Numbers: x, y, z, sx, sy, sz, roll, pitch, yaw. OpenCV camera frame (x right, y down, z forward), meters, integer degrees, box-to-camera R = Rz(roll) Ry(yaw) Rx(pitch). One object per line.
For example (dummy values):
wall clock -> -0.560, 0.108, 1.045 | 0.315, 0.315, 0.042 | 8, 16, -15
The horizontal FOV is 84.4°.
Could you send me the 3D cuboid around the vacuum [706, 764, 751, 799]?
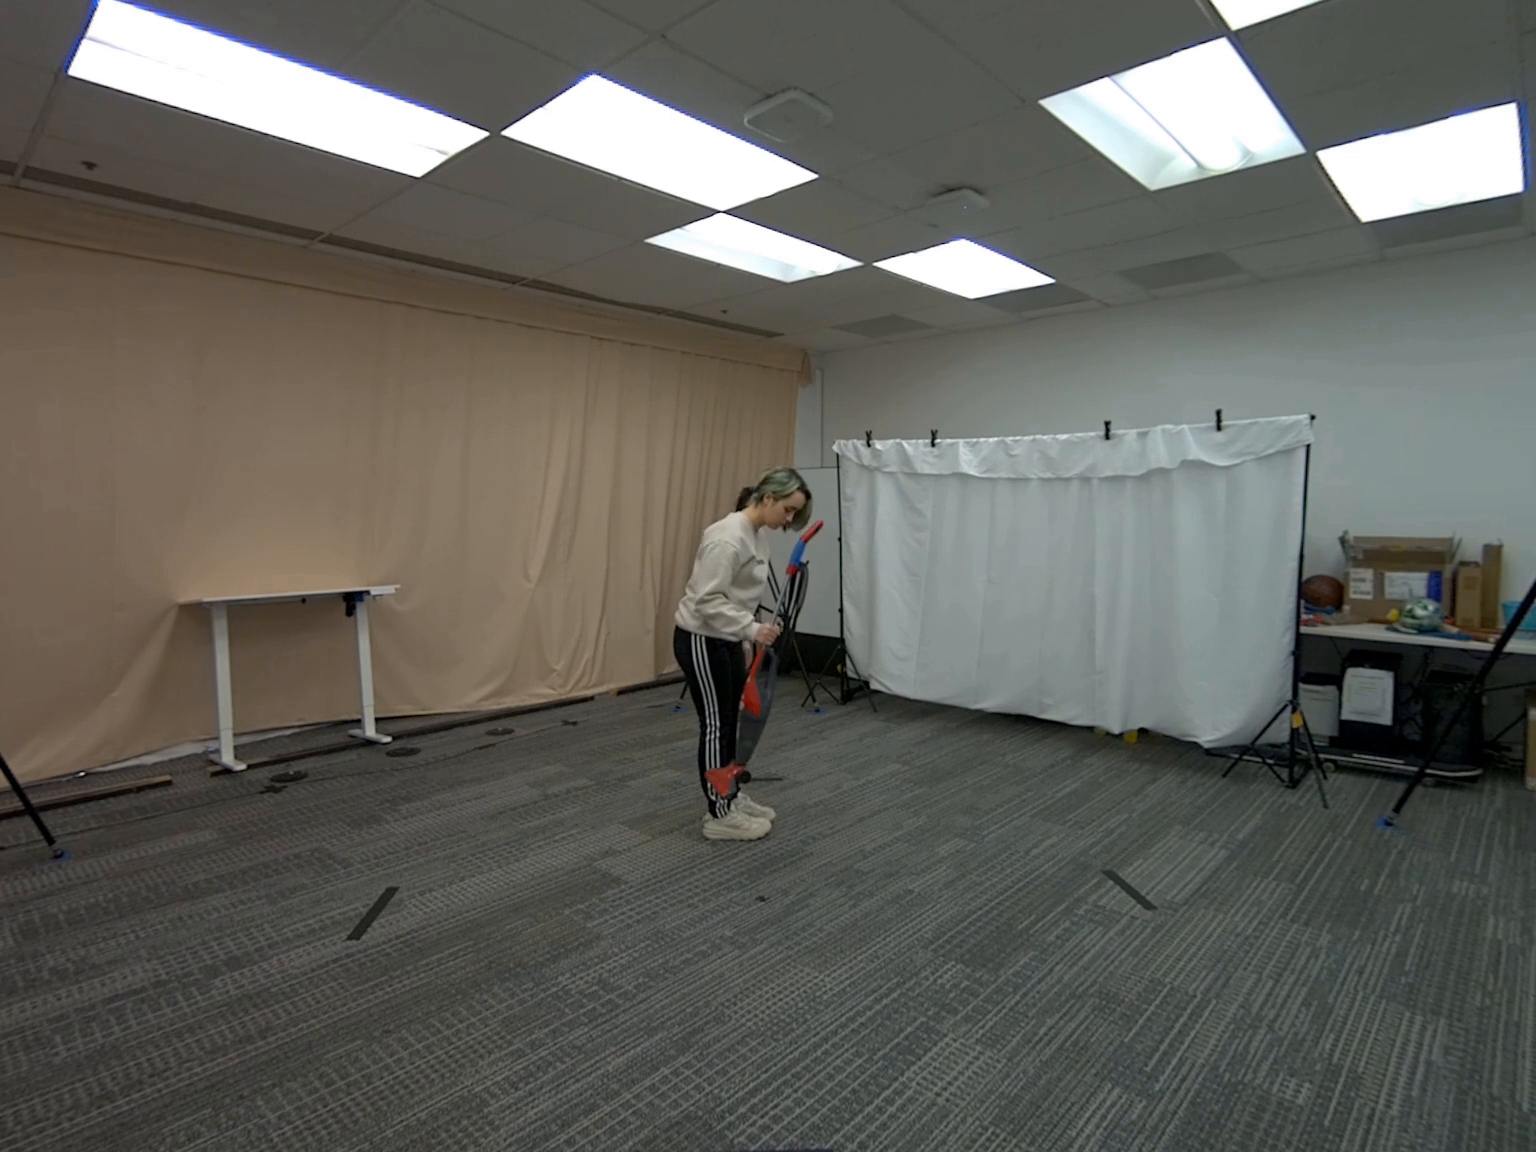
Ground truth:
vacuum -> 0.029, 0.287, 3.249 | 0.140, 1.050, 0.258 | 20, -2, -22
